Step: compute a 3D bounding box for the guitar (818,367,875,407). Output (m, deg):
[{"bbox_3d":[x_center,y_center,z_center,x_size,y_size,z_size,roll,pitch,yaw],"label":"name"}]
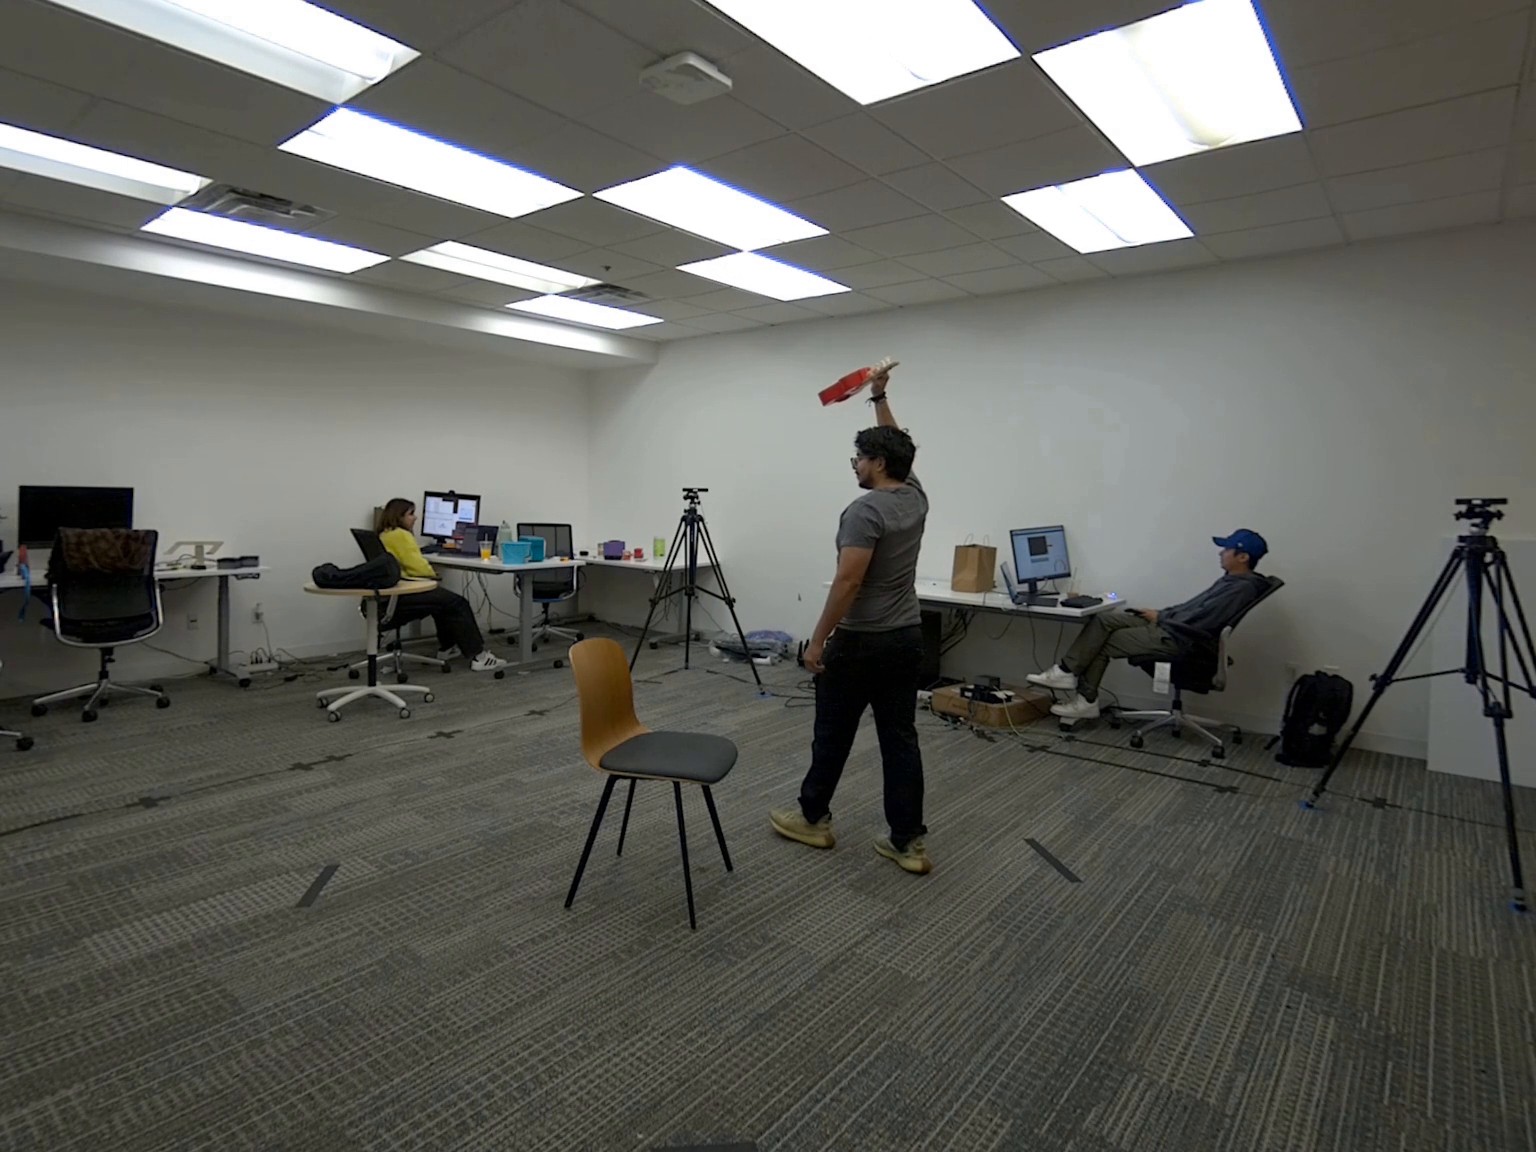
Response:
[{"bbox_3d":[0.398,-0.830,3.498,0.190,0.071,0.506,-24,3,-30],"label":"guitar"}]
